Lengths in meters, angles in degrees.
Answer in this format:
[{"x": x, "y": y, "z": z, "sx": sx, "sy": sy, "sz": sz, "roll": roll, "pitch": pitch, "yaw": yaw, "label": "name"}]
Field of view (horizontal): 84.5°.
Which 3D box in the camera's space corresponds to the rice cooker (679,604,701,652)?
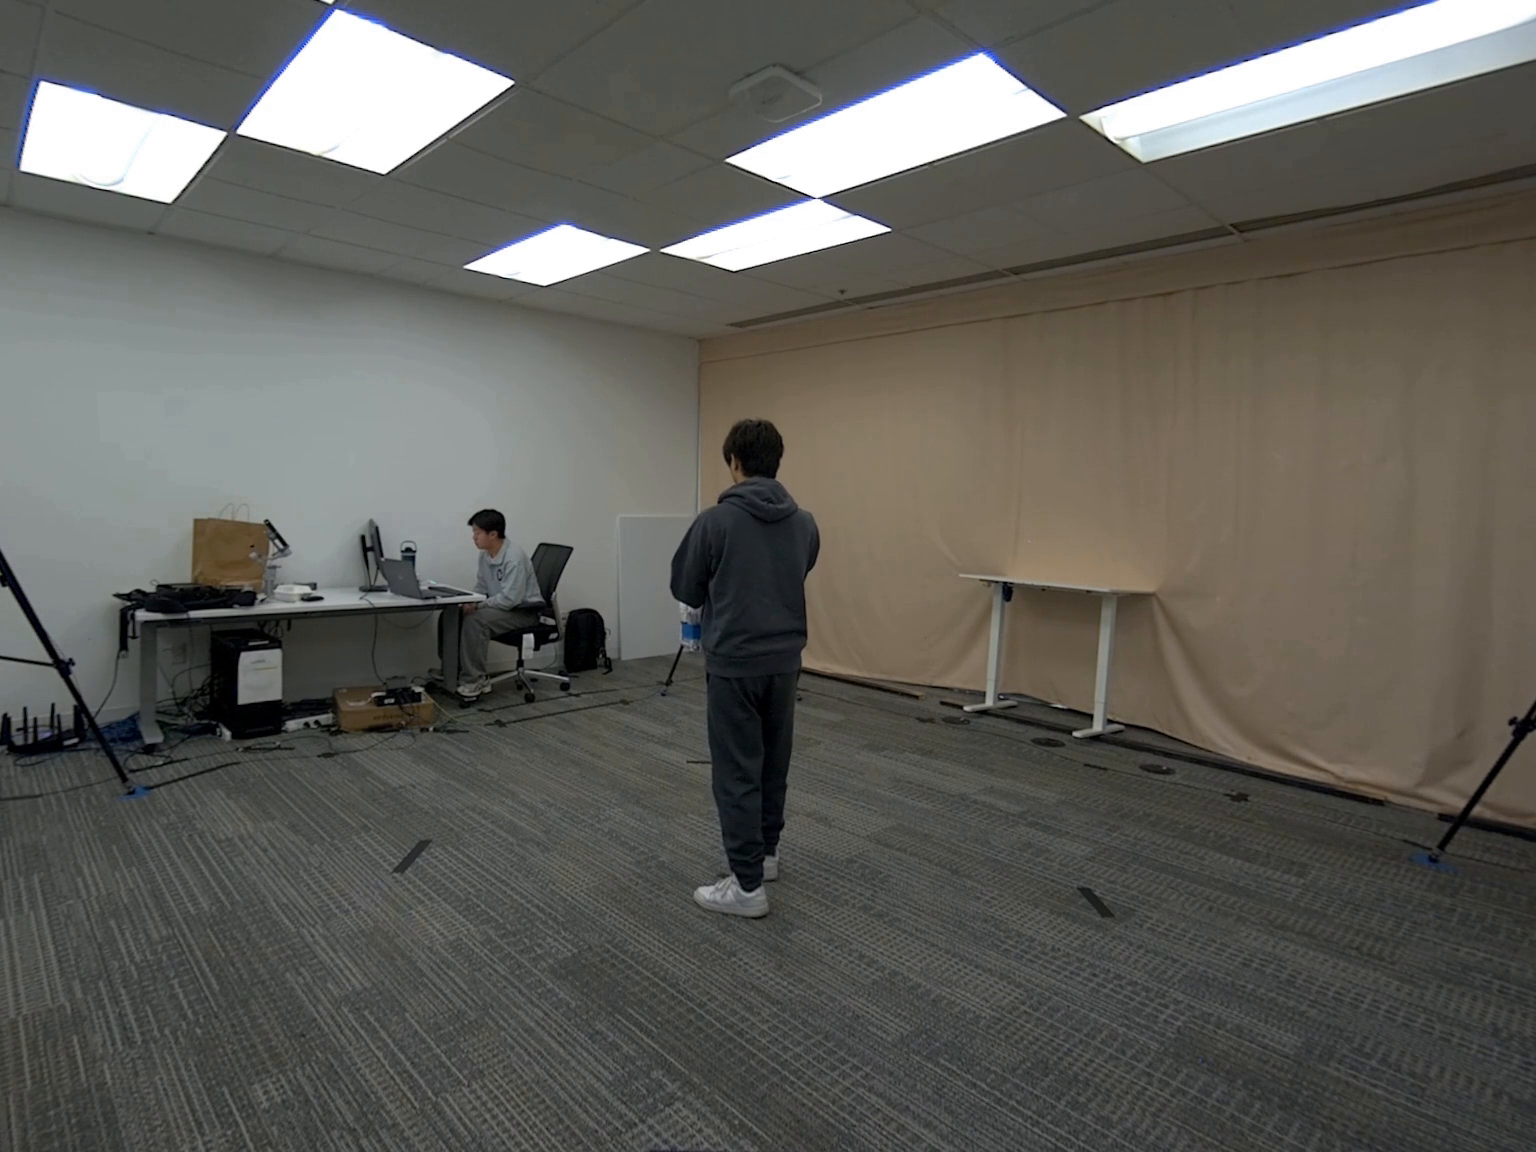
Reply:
[{"x": -0.246, "y": 0.164, "z": 3.267, "sx": 0.217, "sy": 0.232, "sz": 0.222, "roll": 2, "pitch": 6, "yaw": -22, "label": "rice cooker"}]
